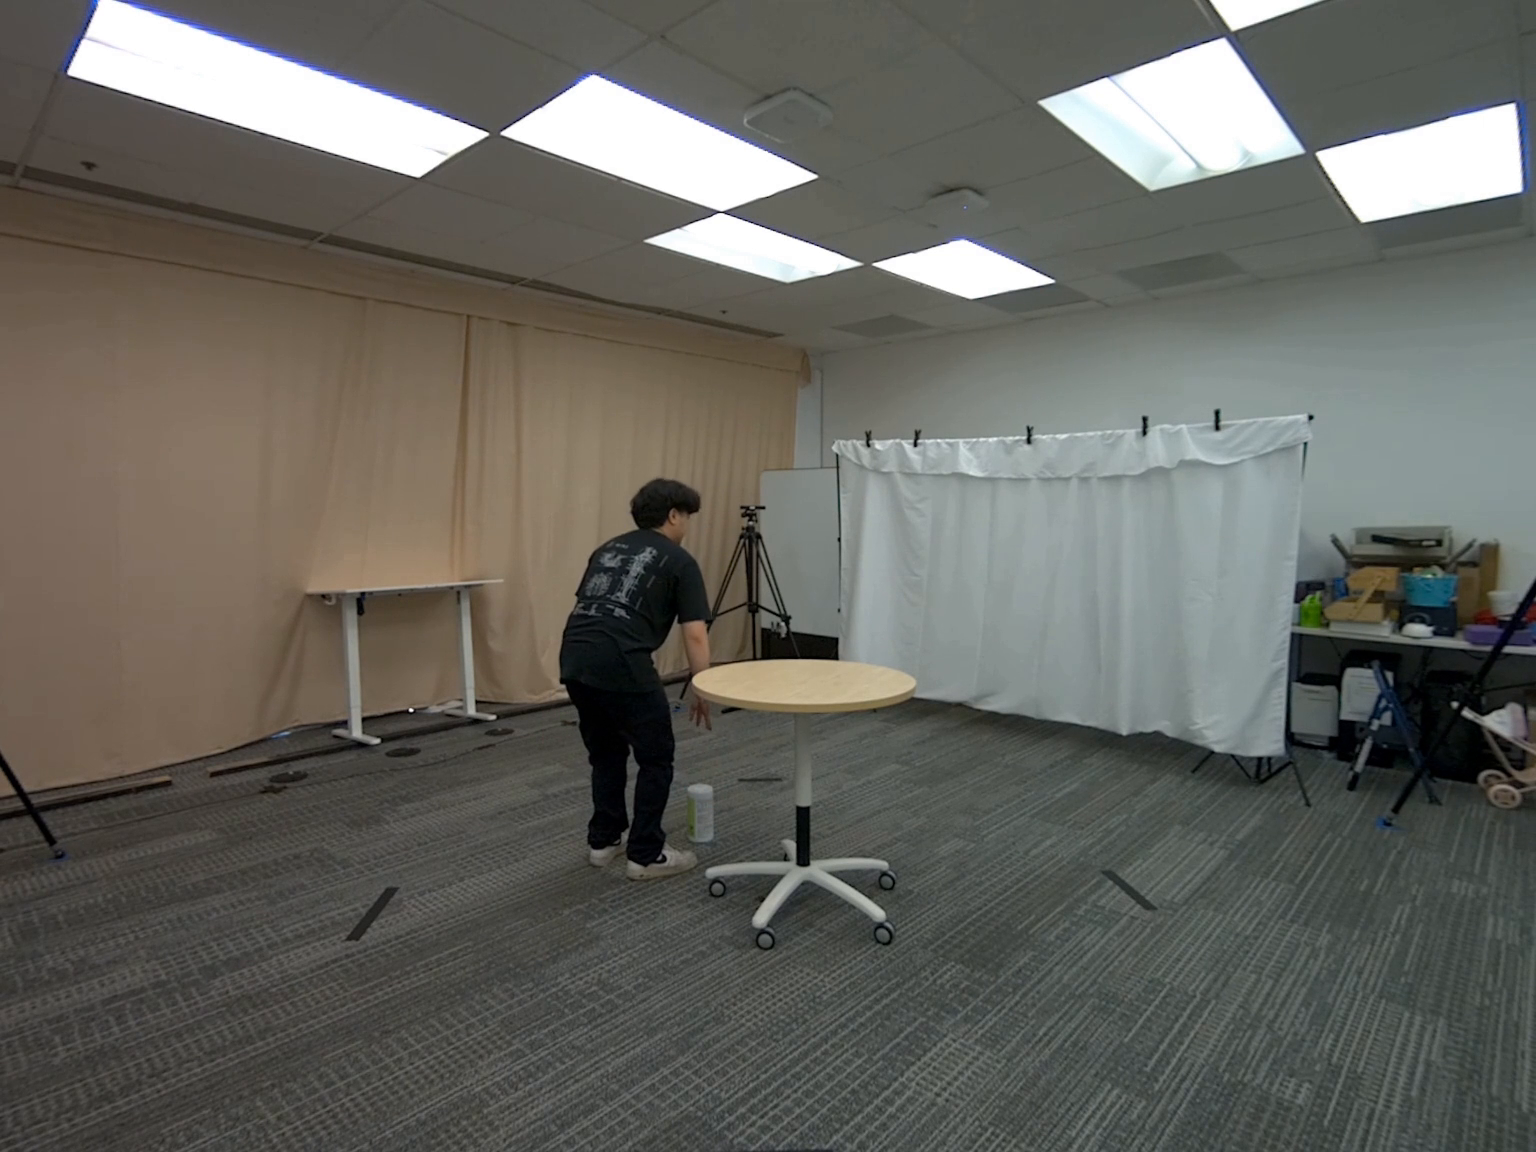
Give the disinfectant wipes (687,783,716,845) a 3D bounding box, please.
[{"bbox_3d":[-0.276,1.000,3.539,0.118,0.217,0.118,-3,4,-2],"label":"disinfectant wipes"}]
